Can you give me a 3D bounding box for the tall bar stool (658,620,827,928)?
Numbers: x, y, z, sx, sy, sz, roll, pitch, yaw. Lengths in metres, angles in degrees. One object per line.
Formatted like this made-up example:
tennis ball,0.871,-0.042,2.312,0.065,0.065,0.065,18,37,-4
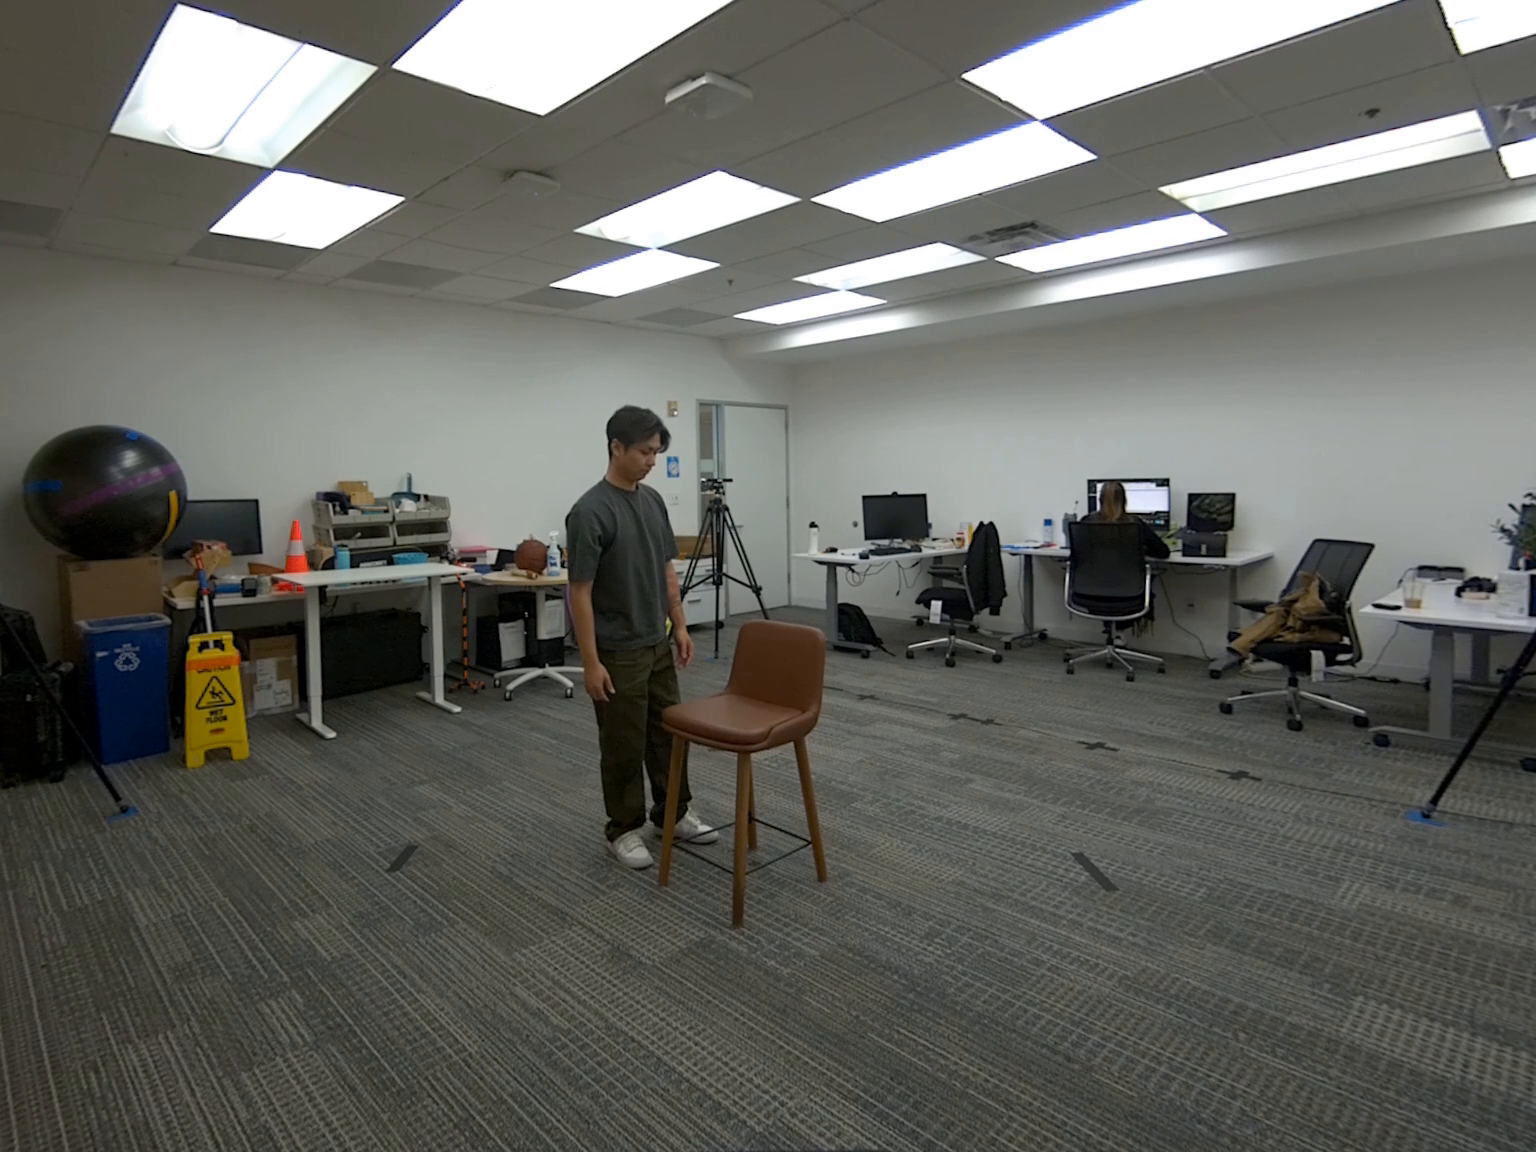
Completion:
tall bar stool,-0.079,0.629,2.926,0.454,0.887,0.471,-2,5,-44
